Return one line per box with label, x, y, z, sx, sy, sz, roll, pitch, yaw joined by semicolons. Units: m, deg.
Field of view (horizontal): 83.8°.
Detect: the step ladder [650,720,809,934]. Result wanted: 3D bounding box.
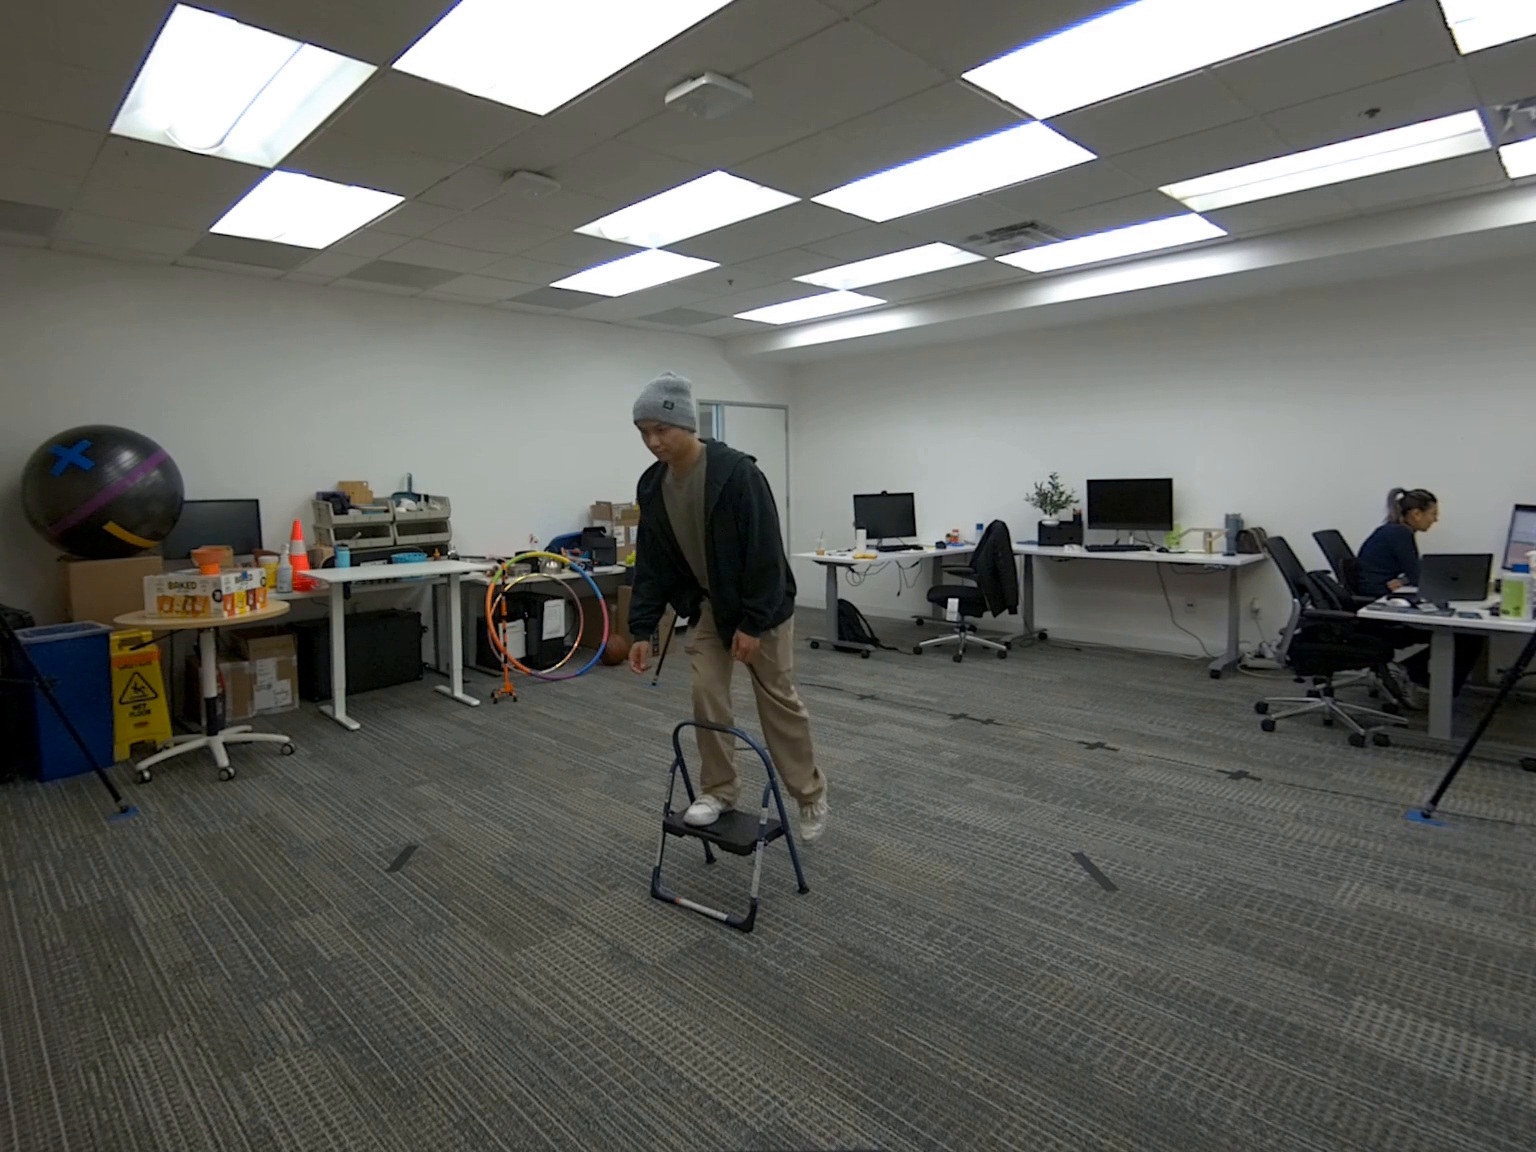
step ladder;-0.137;0.773;2.864;0.443;0.604;0.341;2;5;35
